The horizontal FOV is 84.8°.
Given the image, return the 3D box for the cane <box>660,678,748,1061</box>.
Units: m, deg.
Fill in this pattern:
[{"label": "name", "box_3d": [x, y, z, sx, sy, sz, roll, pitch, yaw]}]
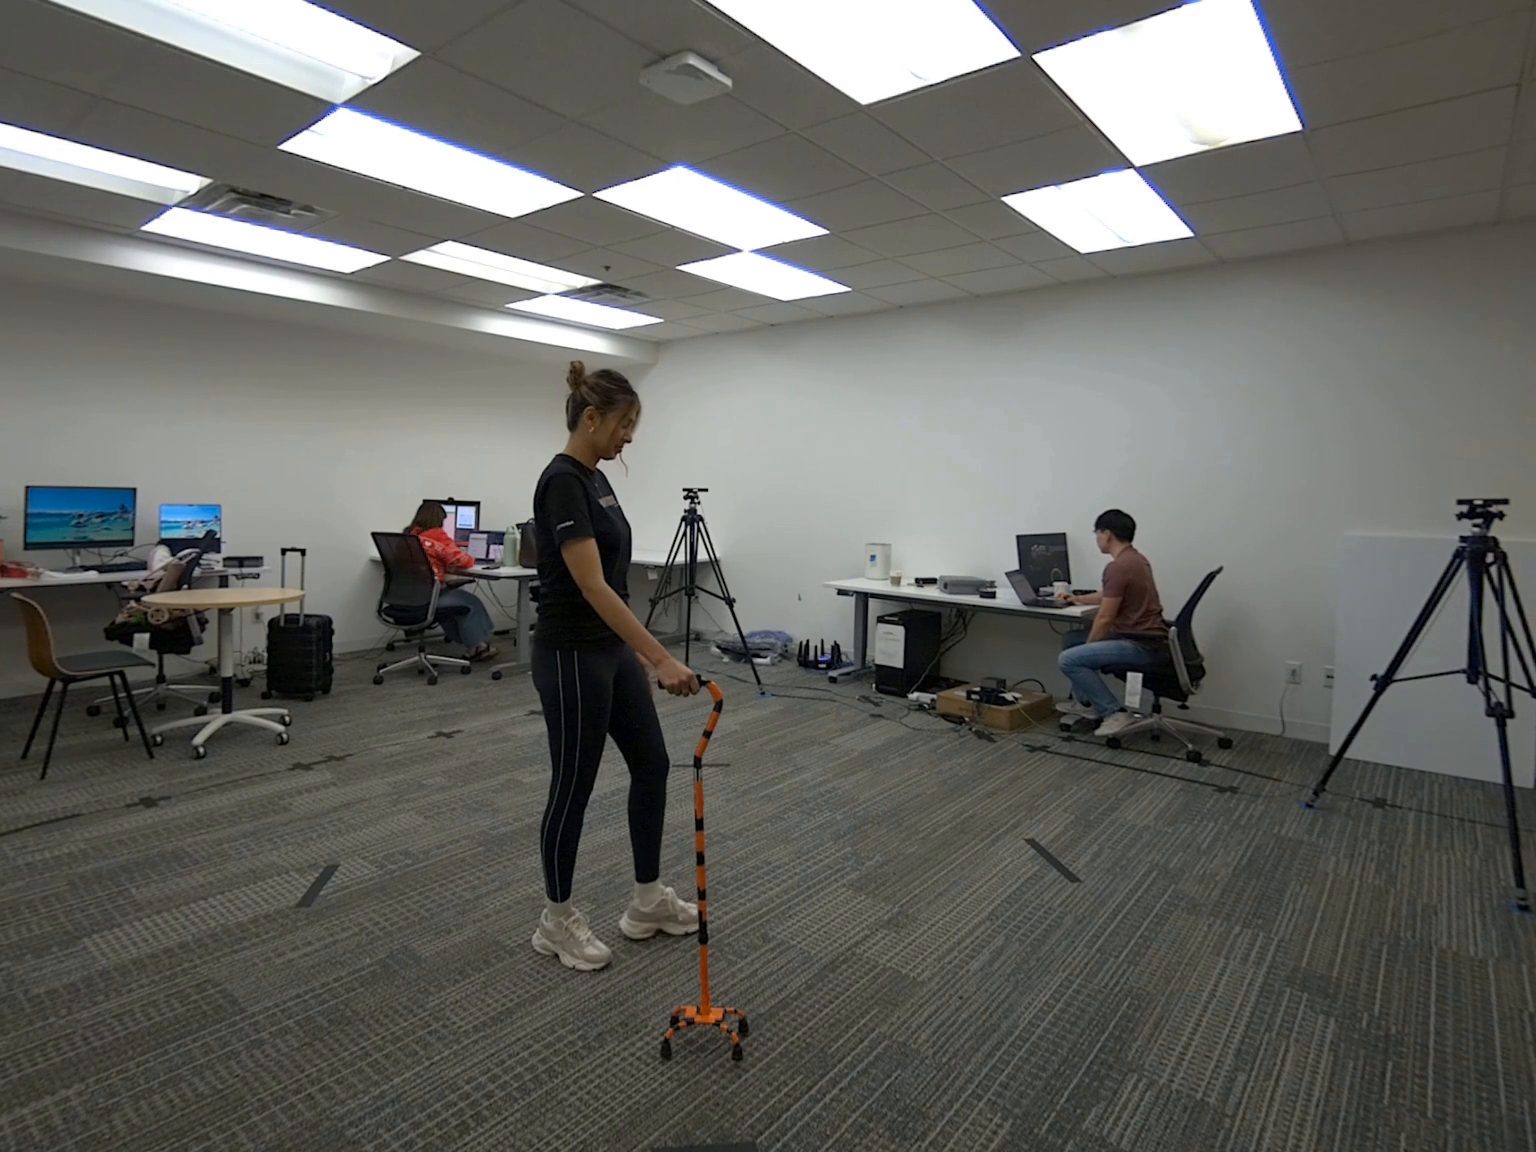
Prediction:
[{"label": "cane", "box_3d": [-0.173, 0.708, 2.138, 0.207, 0.910, 0.150, -2, -2, 4]}]
